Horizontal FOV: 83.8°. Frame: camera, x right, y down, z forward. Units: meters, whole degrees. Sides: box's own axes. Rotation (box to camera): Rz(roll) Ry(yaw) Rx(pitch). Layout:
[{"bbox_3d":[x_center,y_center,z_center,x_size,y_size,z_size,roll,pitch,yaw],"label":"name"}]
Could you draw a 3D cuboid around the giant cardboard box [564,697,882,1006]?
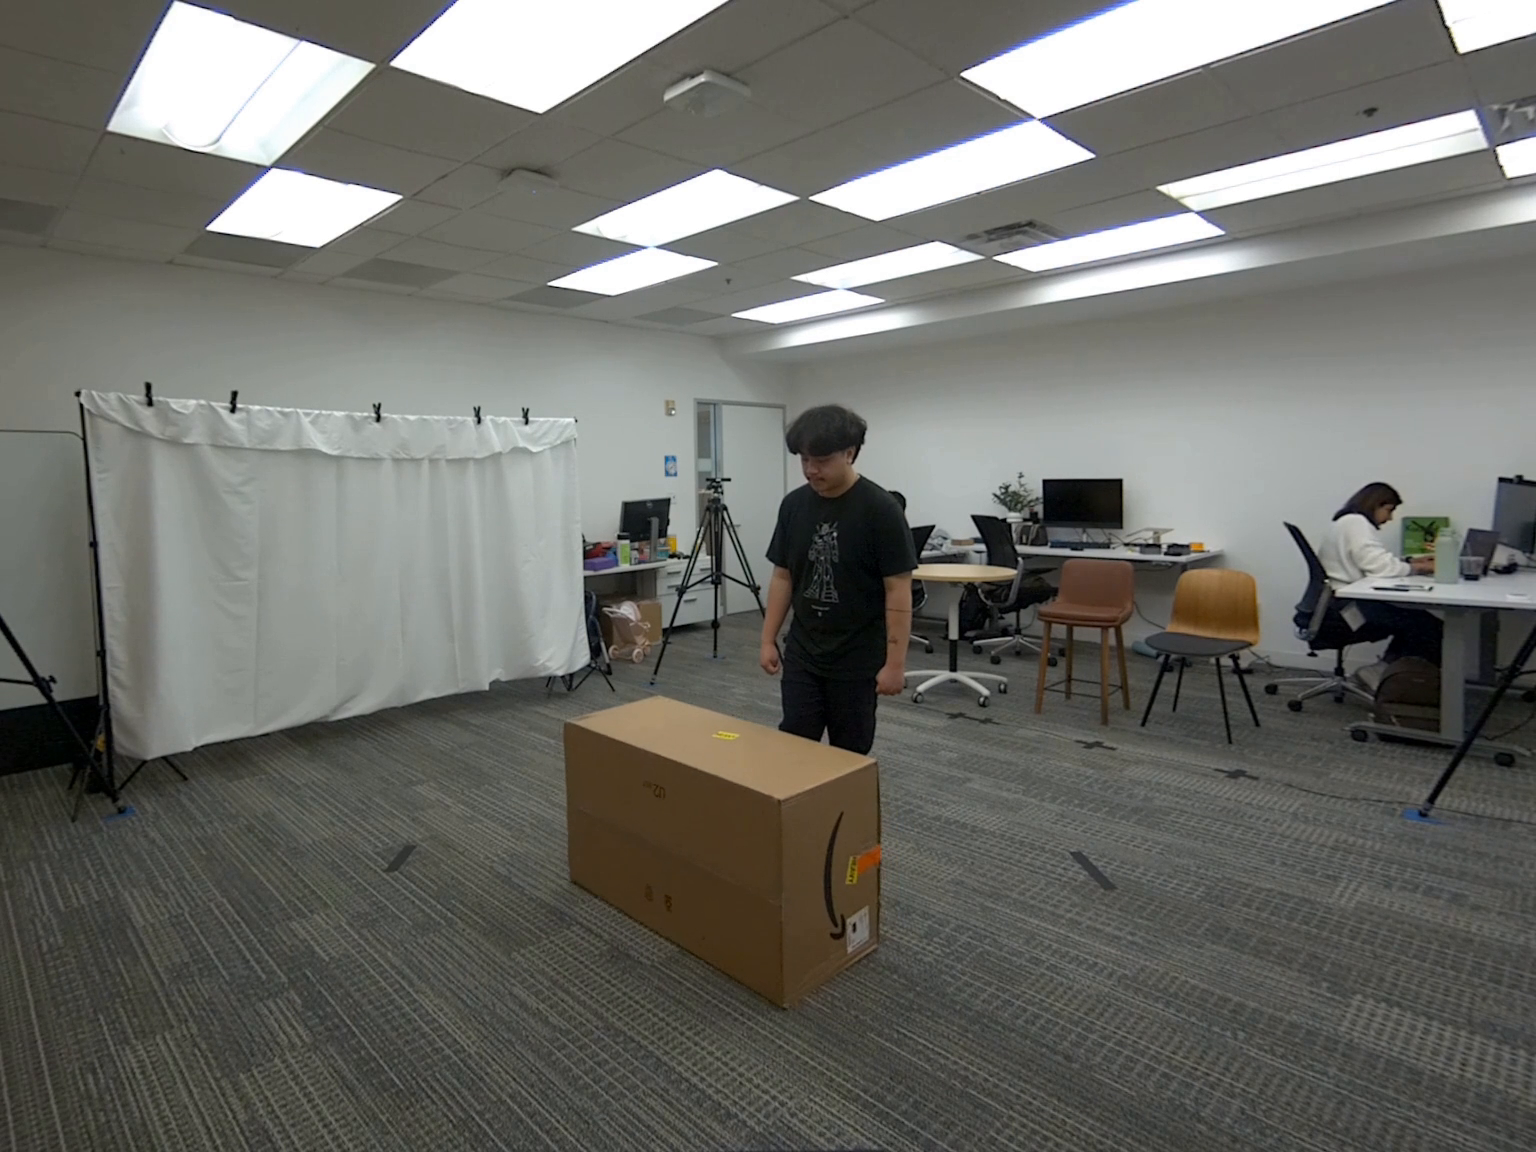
[{"bbox_3d":[-0.188,0.802,2.740,0.435,0.581,1.059,-5,7,-44],"label":"giant cardboard box"}]
